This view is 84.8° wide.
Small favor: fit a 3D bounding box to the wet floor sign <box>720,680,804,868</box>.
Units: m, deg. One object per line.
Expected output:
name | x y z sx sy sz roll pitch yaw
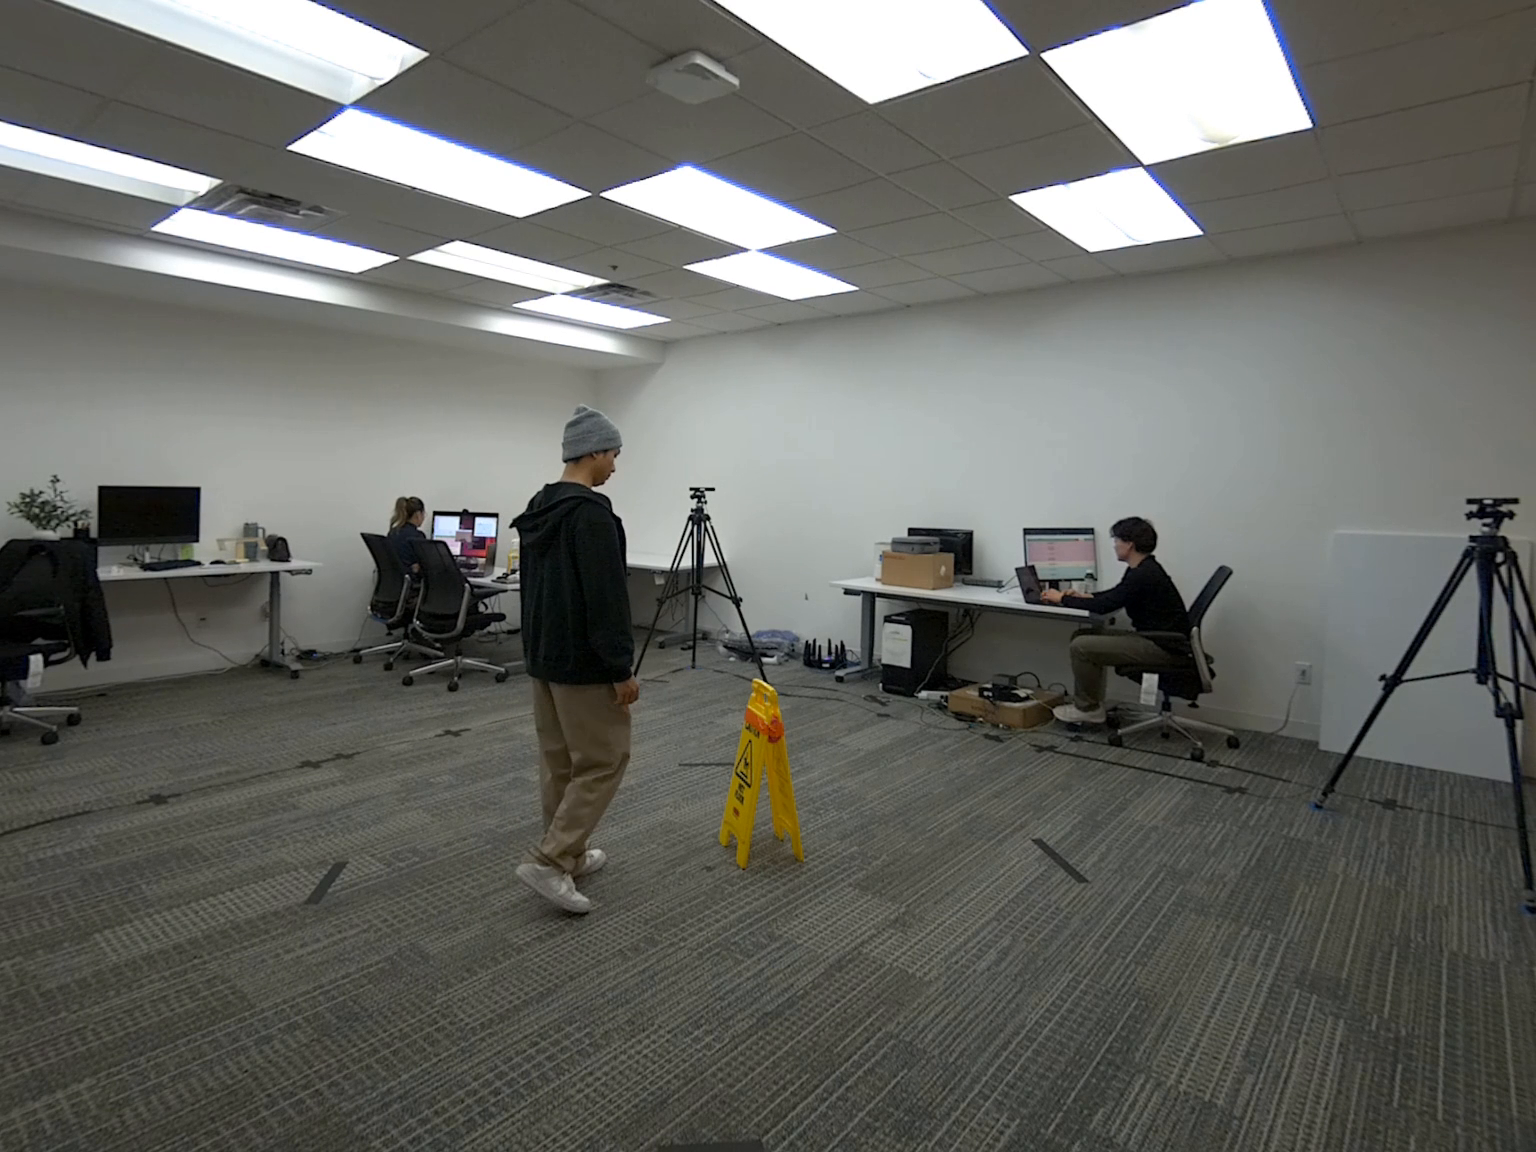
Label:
wet floor sign | -0.028 0.727 3.259 0.284 0.644 0.289 1 4 -19
